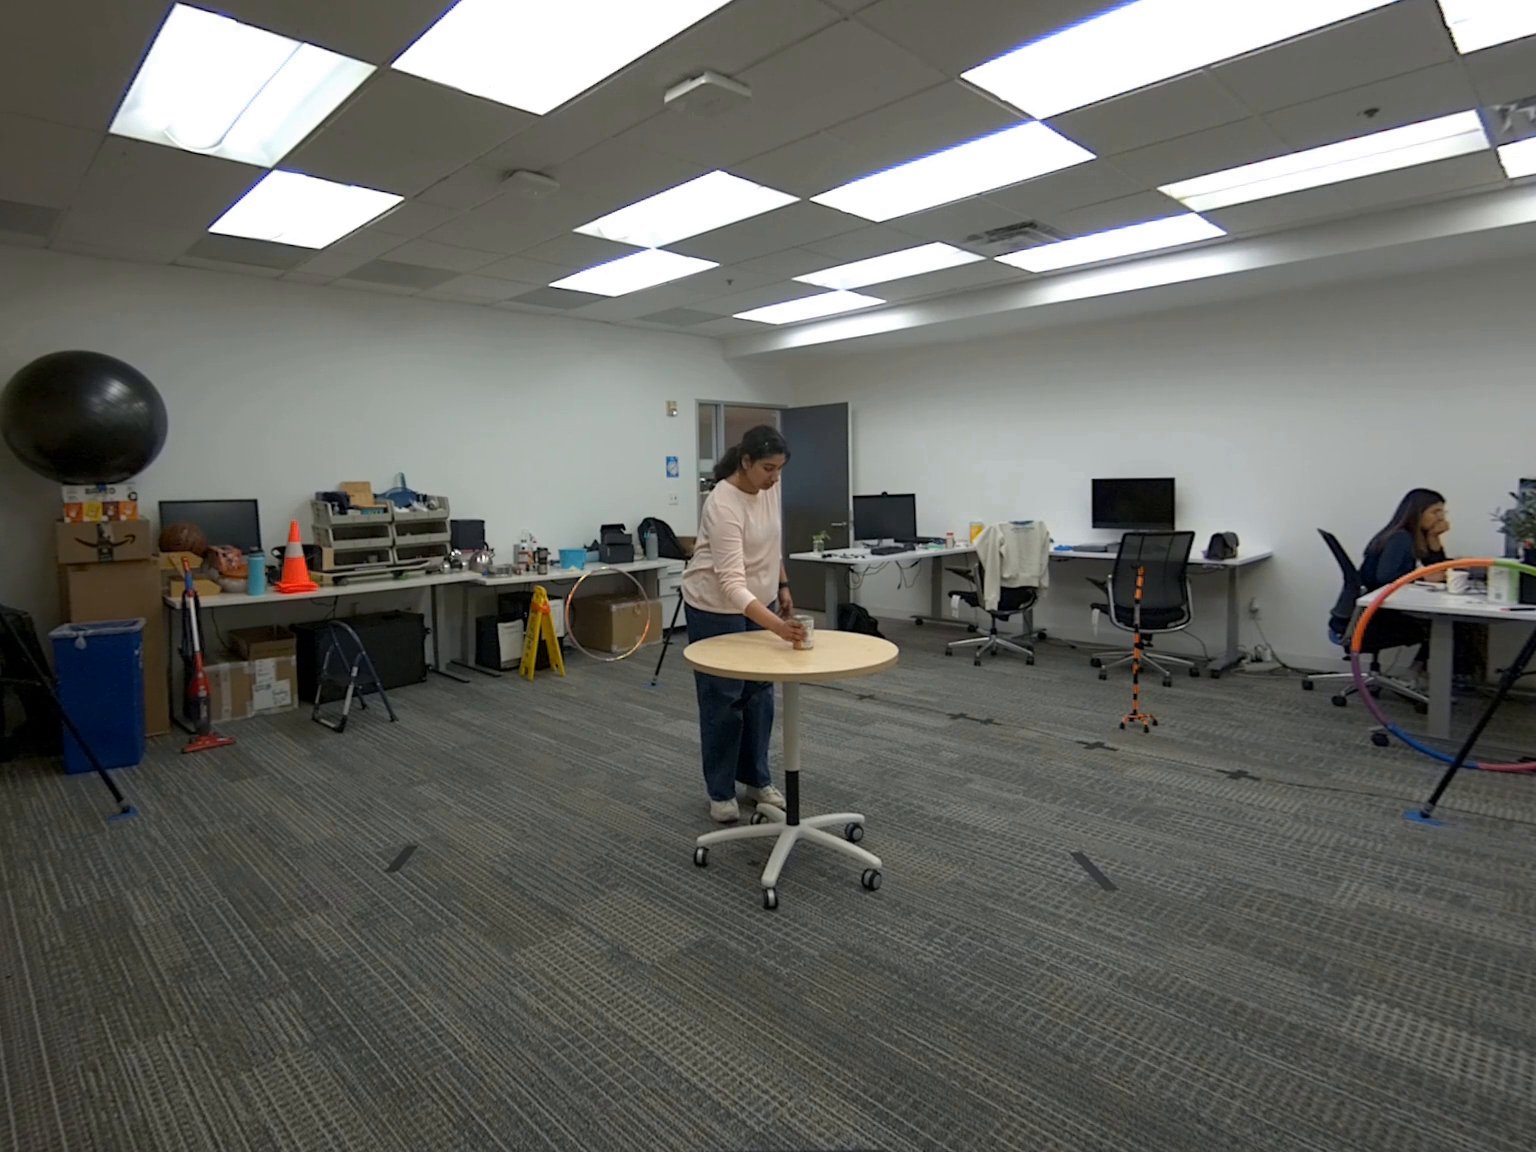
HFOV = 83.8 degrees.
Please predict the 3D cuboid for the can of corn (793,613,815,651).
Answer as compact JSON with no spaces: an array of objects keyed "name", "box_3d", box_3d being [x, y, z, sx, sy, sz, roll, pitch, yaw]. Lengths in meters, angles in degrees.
[{"name":"can of corn","box_3d":[0.115,0.202,3.073,0.074,0.110,0.074,1,5,-2]}]
